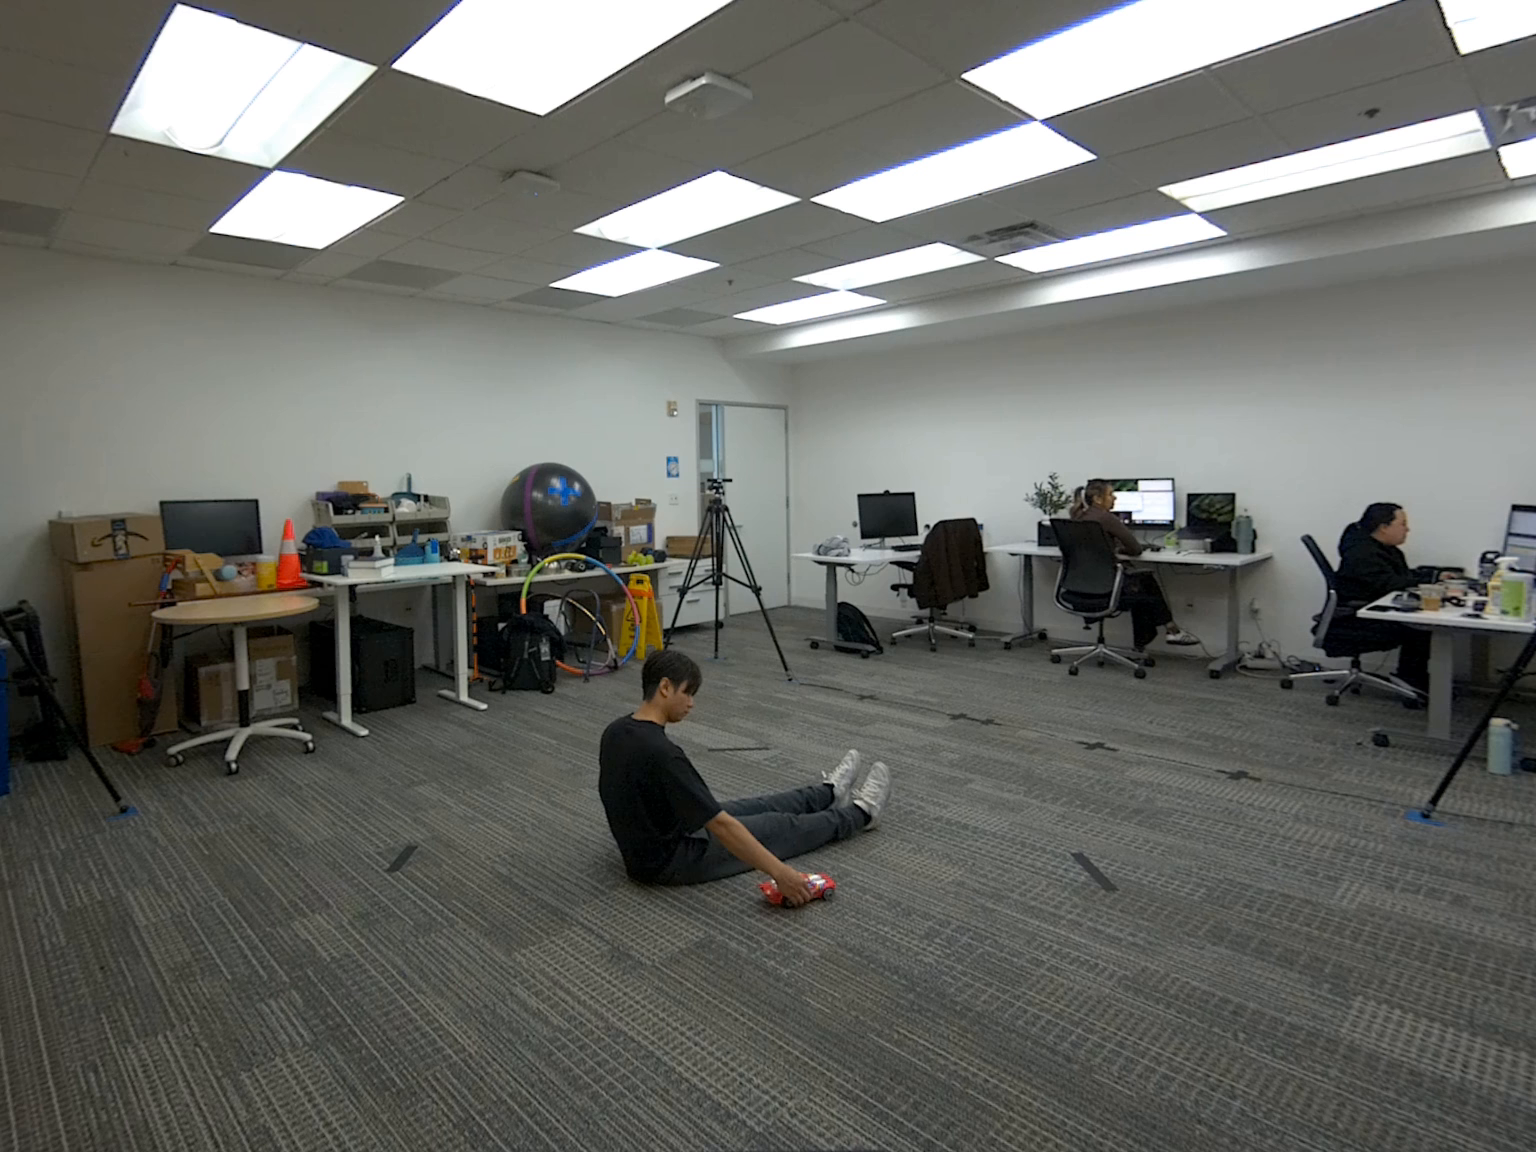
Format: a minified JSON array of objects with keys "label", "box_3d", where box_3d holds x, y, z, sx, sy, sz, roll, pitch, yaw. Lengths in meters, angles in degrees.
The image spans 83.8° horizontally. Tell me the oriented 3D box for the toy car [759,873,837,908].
[{"label":"toy car","box_3d":[0.091,1.035,2.841,0.250,0.083,0.133,8,1,-19]}]
